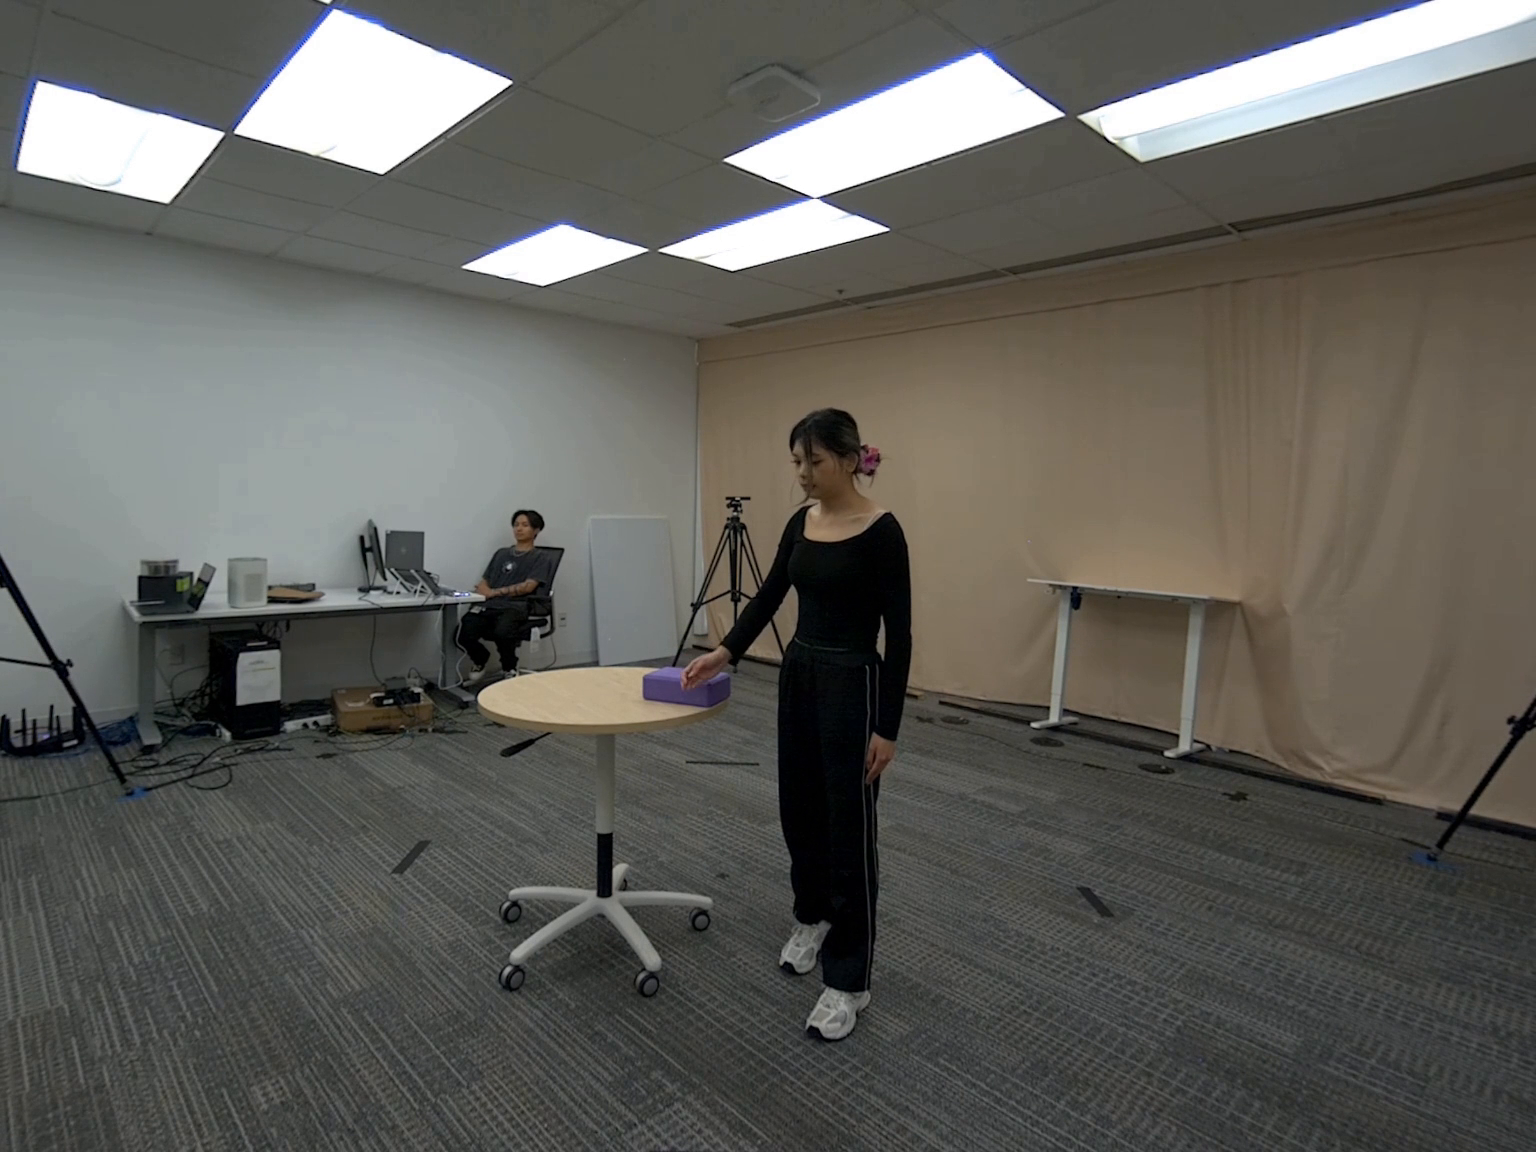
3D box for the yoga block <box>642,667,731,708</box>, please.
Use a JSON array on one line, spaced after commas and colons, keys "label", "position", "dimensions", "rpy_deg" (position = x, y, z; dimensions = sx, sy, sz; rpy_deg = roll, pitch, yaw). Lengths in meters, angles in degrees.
[{"label": "yoga block", "position": [-0.244, 0.333, 2.515], "dimensions": [0.233, 0.076, 0.147], "rpy_deg": [2, 6, 24]}]
